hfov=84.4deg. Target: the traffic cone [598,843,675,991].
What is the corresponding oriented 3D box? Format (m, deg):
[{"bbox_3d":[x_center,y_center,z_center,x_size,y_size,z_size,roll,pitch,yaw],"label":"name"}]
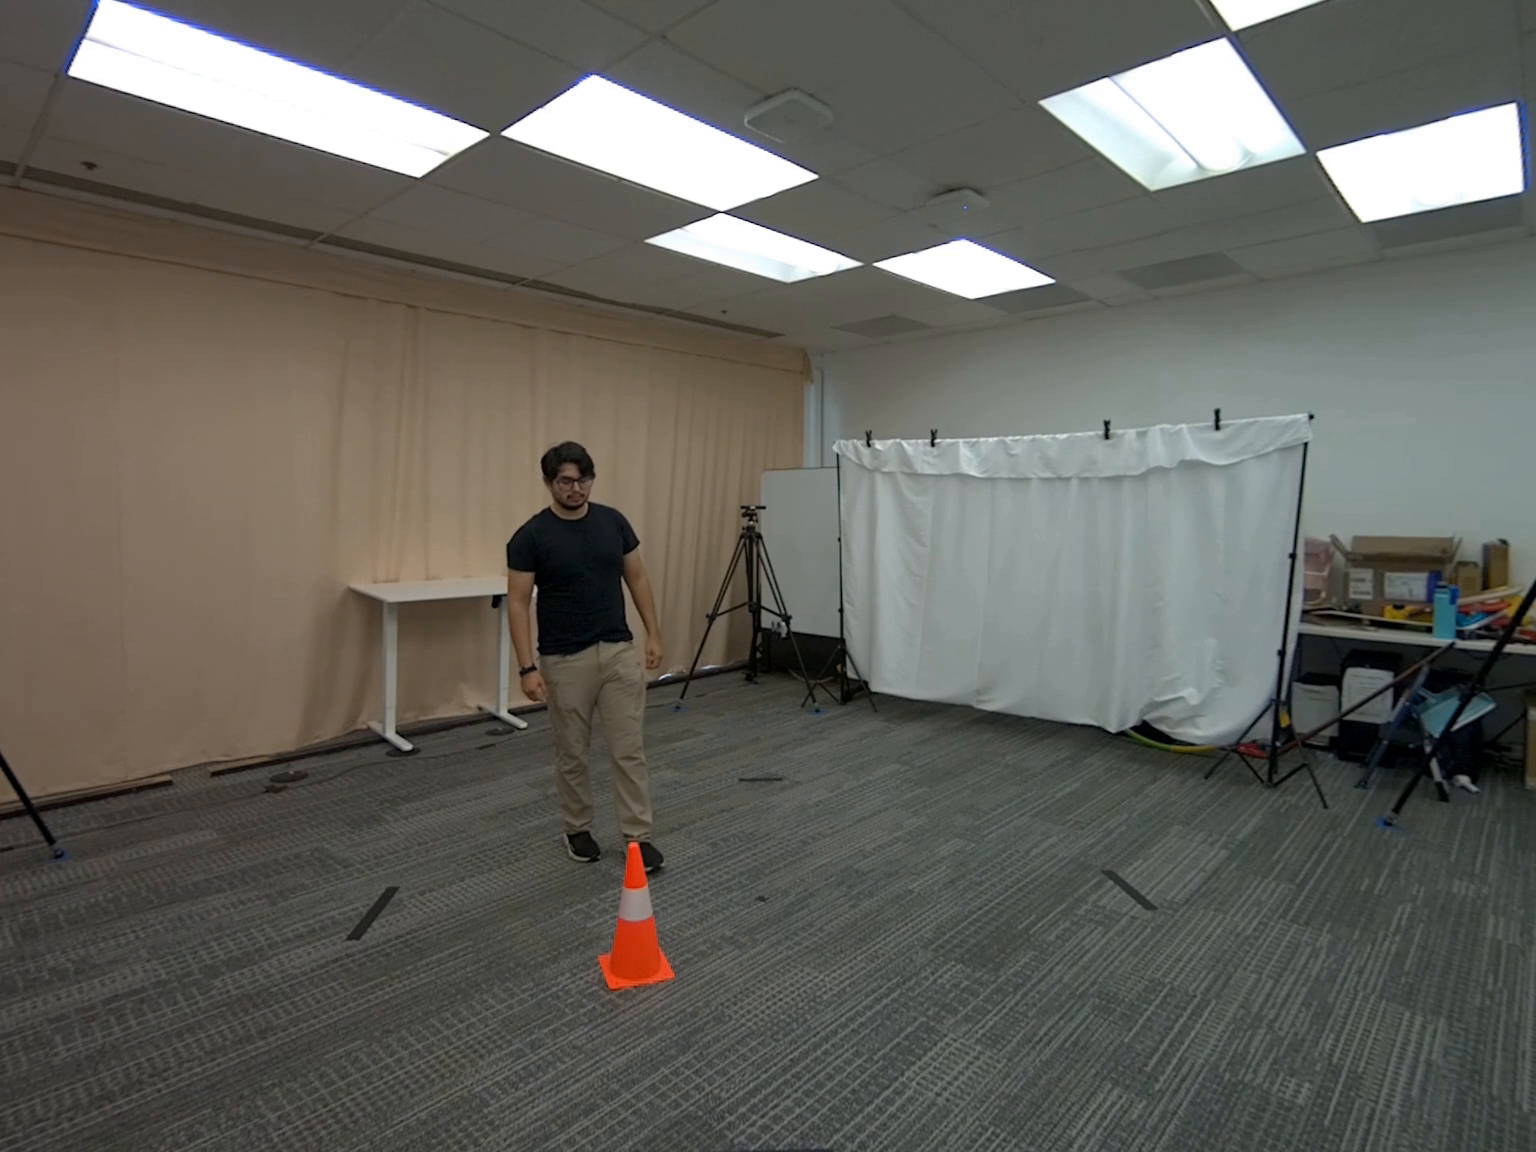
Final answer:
[{"bbox_3d":[-0.390,0.997,2.532,0.201,0.383,0.207,1,4,-18],"label":"traffic cone"}]
